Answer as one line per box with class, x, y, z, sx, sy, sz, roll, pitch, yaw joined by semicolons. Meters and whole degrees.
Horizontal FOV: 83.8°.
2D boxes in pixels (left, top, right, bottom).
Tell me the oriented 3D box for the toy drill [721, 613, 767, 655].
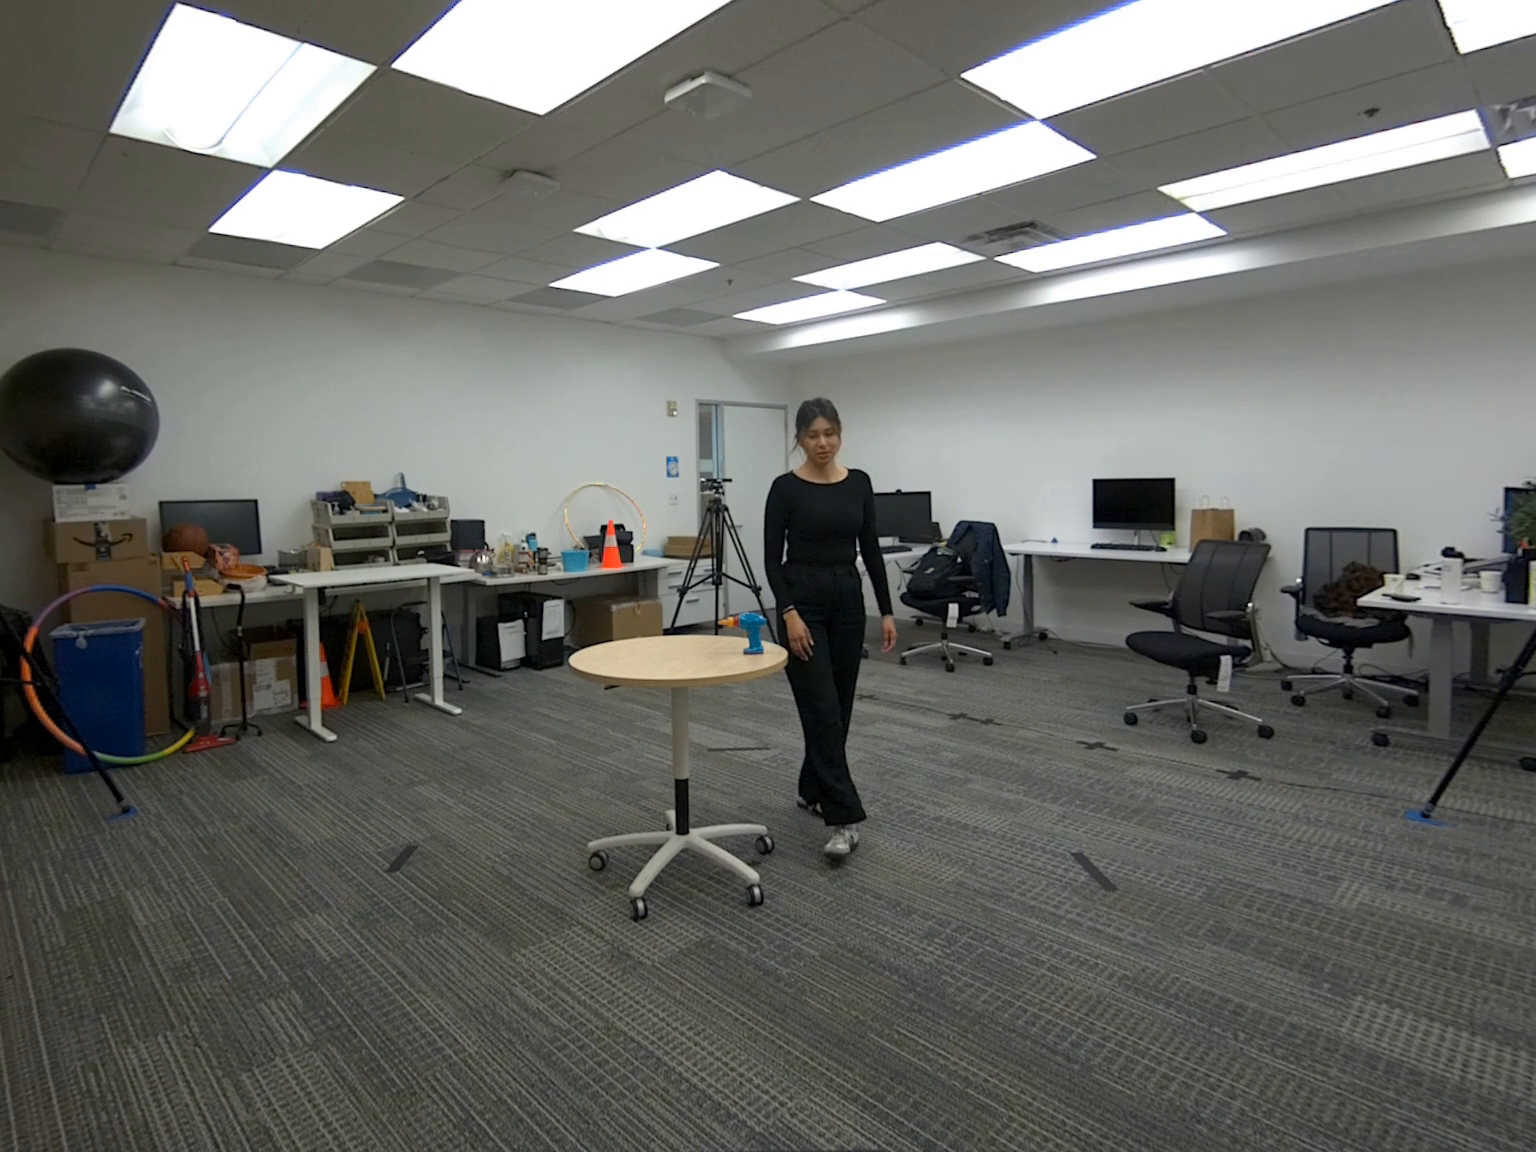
toy drill;-0.084;0.203;2.993;0.170;0.145;0.061;-2;5;-1
